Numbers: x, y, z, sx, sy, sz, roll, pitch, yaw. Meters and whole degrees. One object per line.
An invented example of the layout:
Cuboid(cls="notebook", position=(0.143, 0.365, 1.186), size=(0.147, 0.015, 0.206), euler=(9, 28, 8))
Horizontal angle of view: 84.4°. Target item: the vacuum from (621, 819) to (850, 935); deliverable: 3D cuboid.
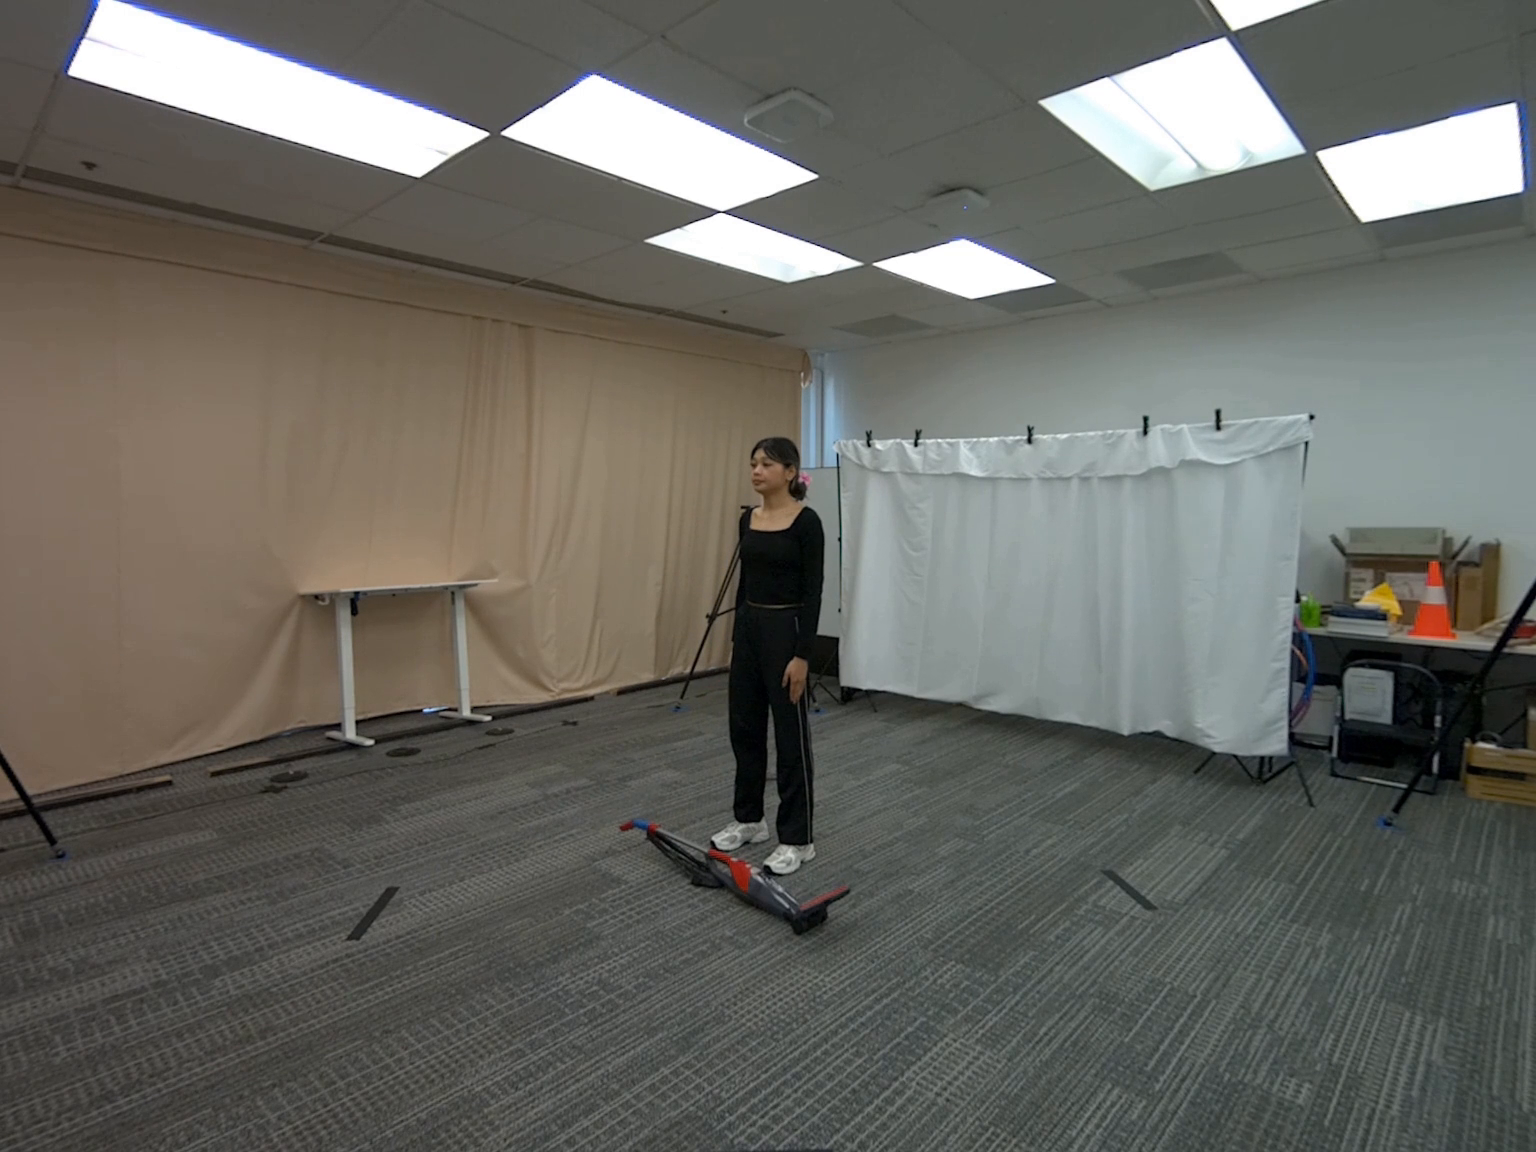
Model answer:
Cuboid(cls="vacuum", position=(-0.217, 1.074, 3.119), size=(1.084, 0.144, 0.244), euler=(3, 0, 43))
